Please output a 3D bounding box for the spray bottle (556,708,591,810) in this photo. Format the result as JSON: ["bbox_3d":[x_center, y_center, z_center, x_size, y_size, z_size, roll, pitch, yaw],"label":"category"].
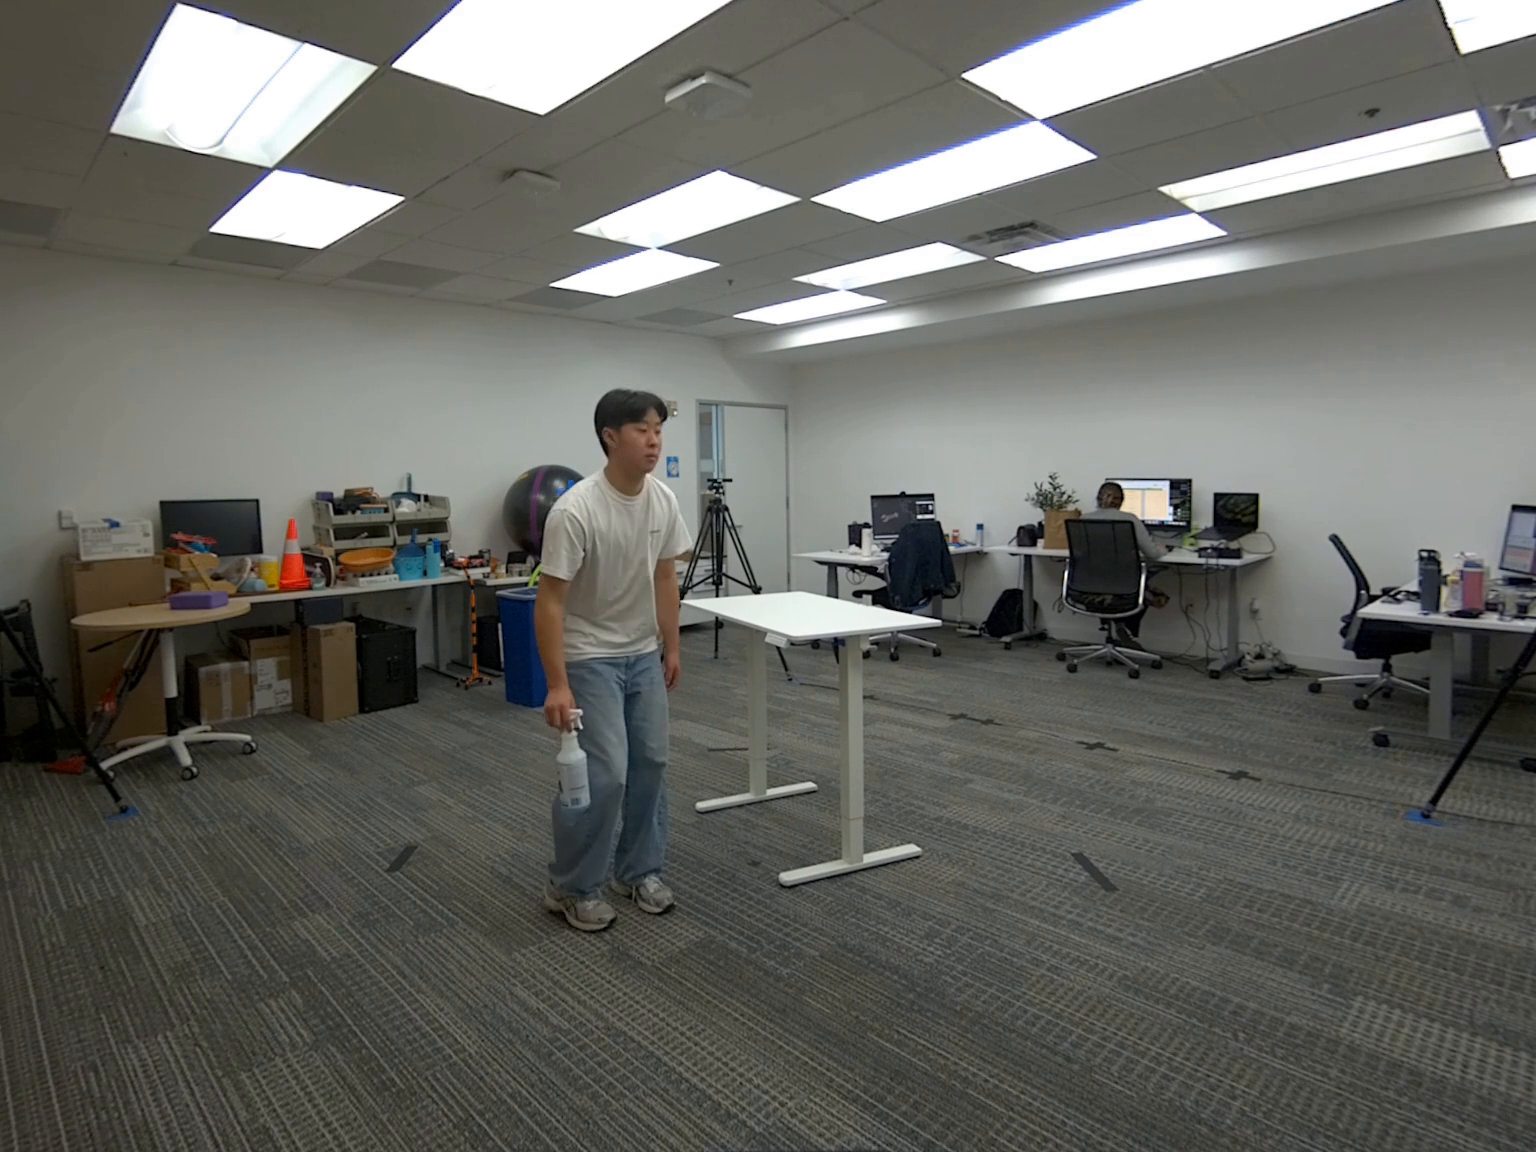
[{"bbox_3d":[-0.577,0.556,2.489,0.085,0.295,0.093,-8,11,-41],"label":"spray bottle"}]
